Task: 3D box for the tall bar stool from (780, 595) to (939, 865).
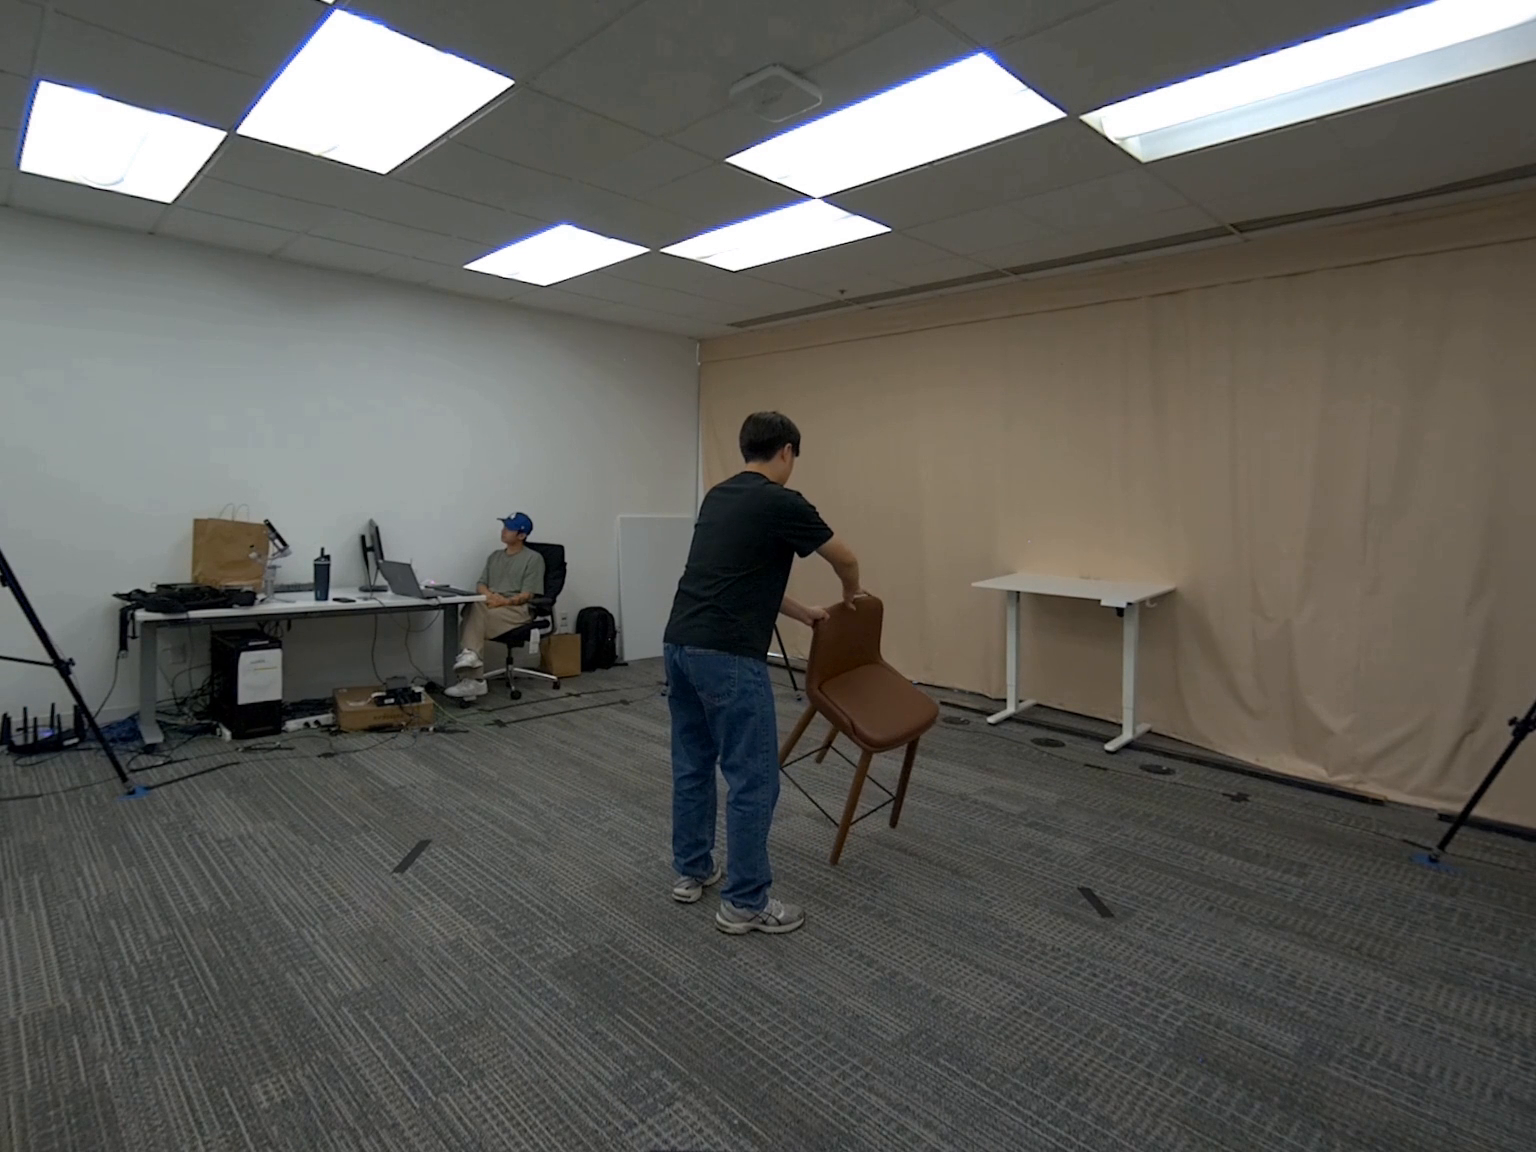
[{"bbox_3d":[0.347,0.591,3.288,0.448,0.879,0.482,-11,36,-43],"label":"tall bar stool"}]
